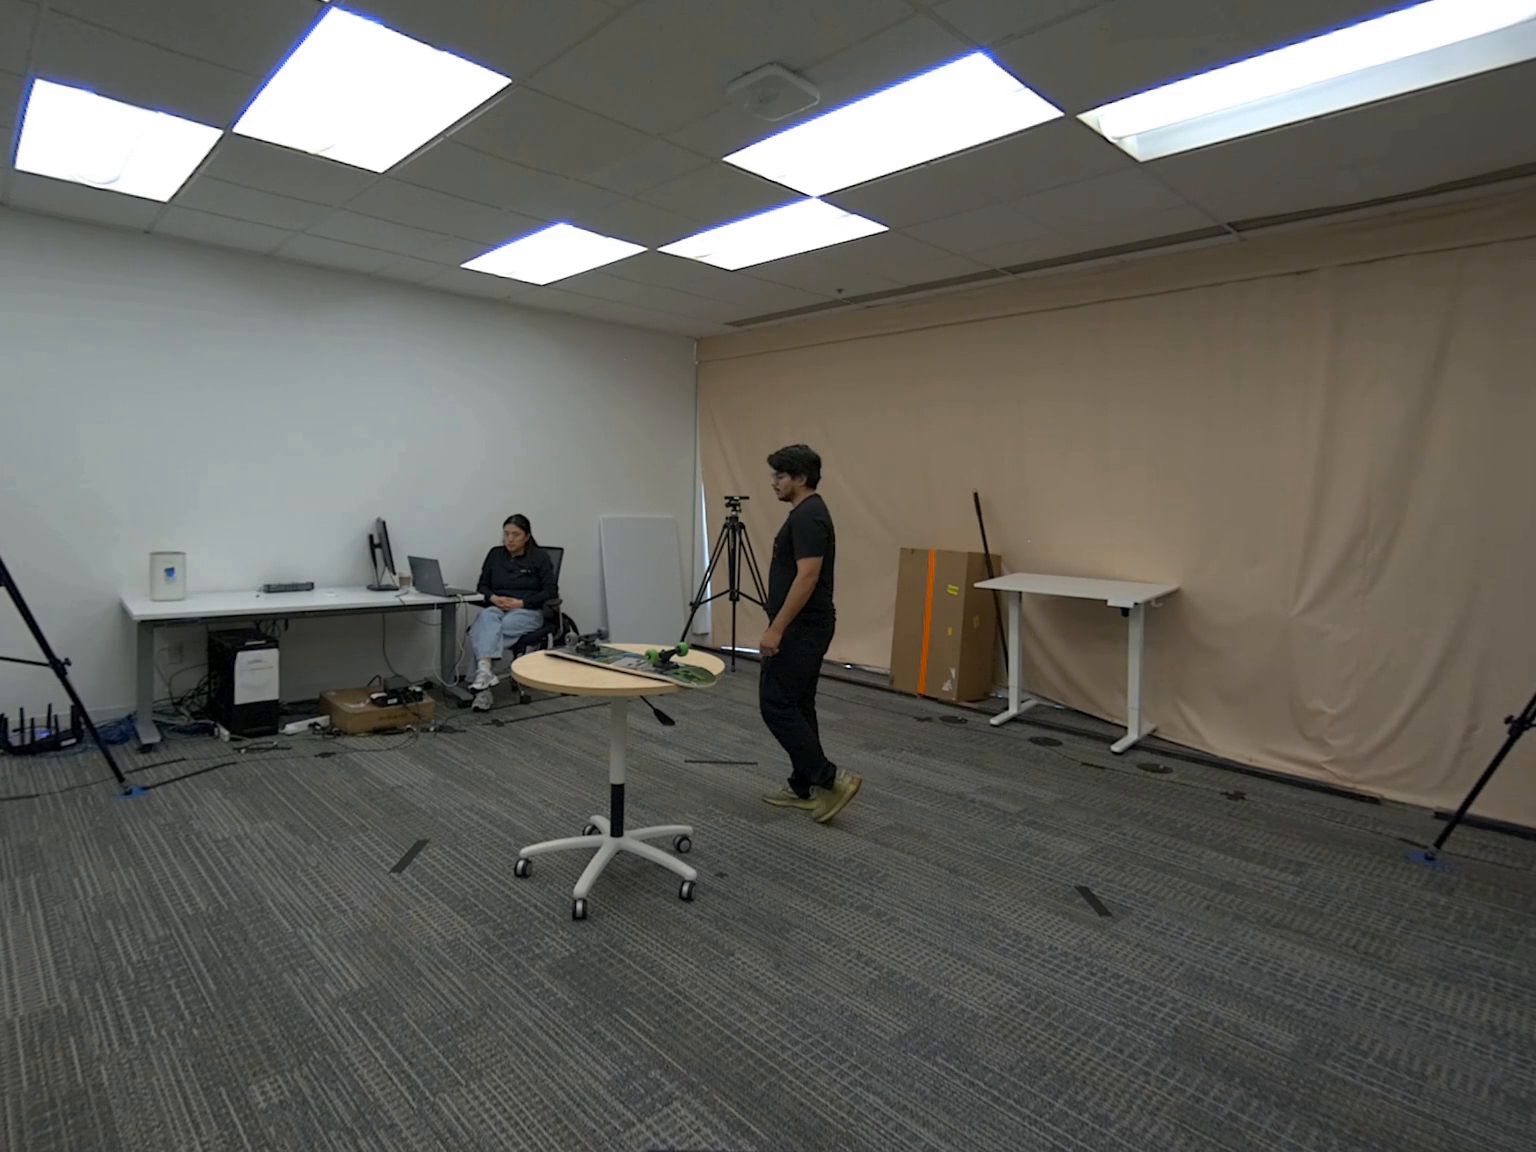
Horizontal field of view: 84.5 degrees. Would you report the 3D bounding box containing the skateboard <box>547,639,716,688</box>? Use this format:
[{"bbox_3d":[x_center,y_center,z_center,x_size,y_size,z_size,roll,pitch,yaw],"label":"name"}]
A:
[{"bbox_3d":[-0.522,0.281,3.008,0.805,0.110,0.189,7,6,38],"label":"skateboard"}]
